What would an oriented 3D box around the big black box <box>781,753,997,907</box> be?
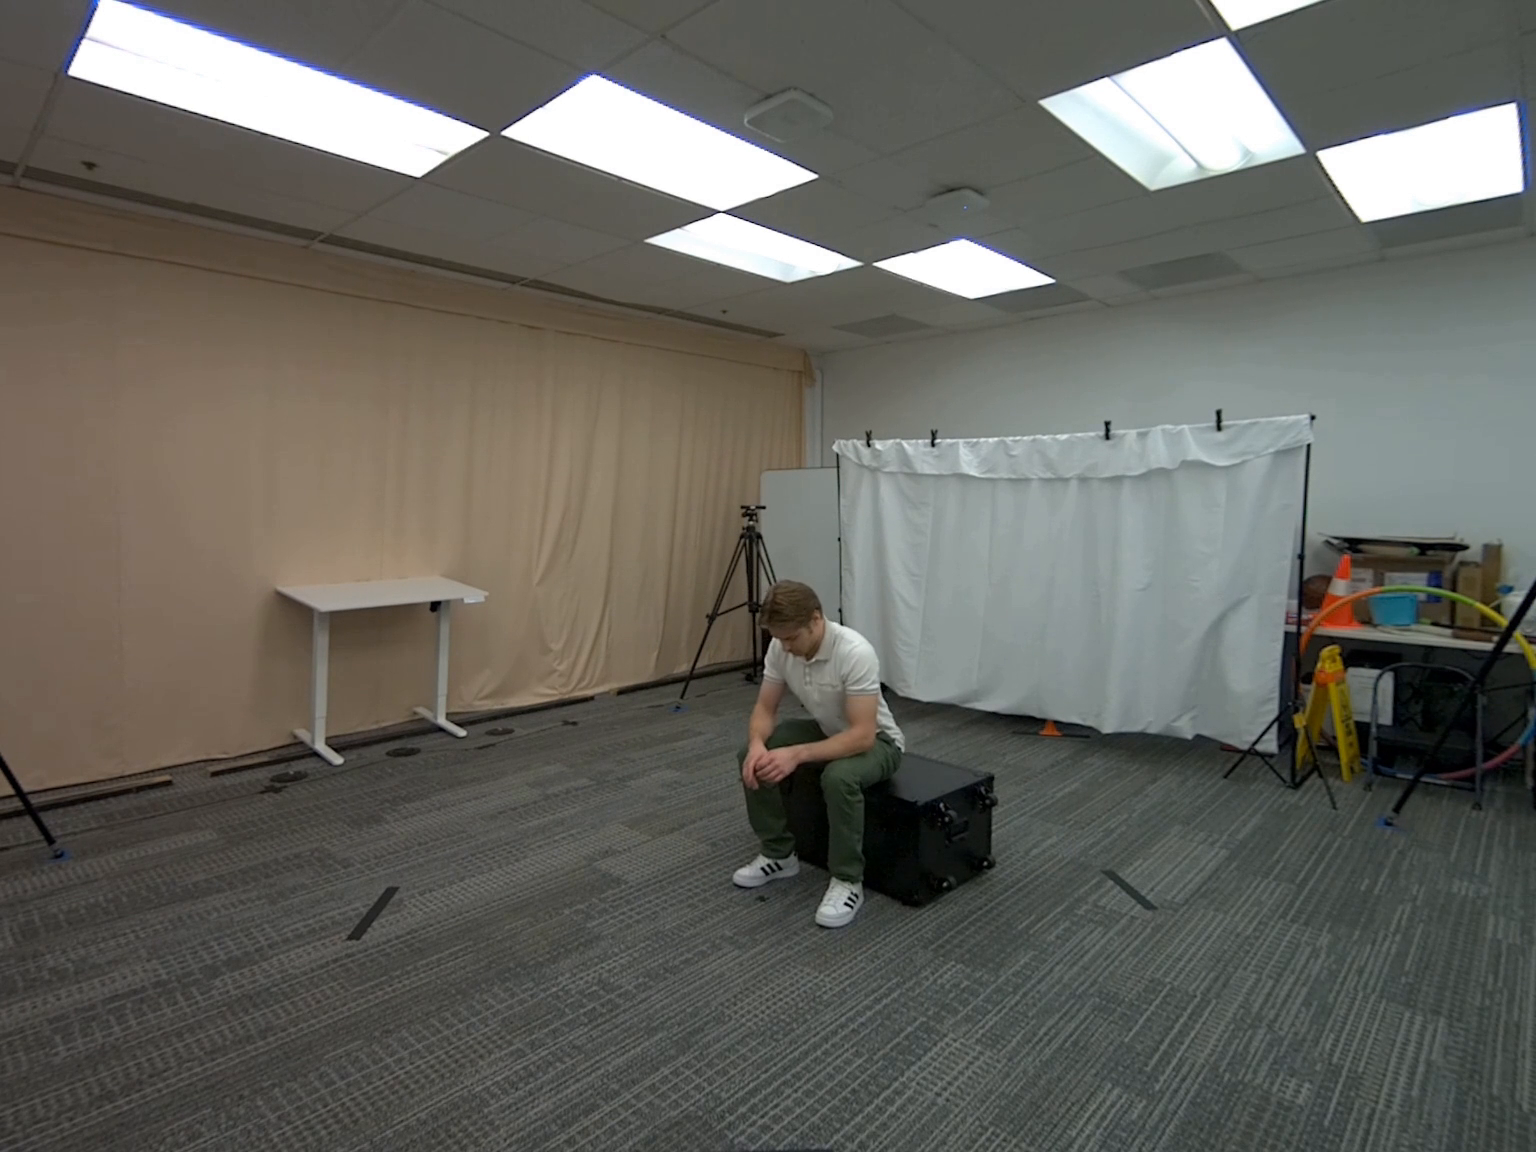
[{"bbox_3d":[0.433,0.922,3.291,0.507,0.384,0.897,-2,4,-44],"label":"big black box"}]
